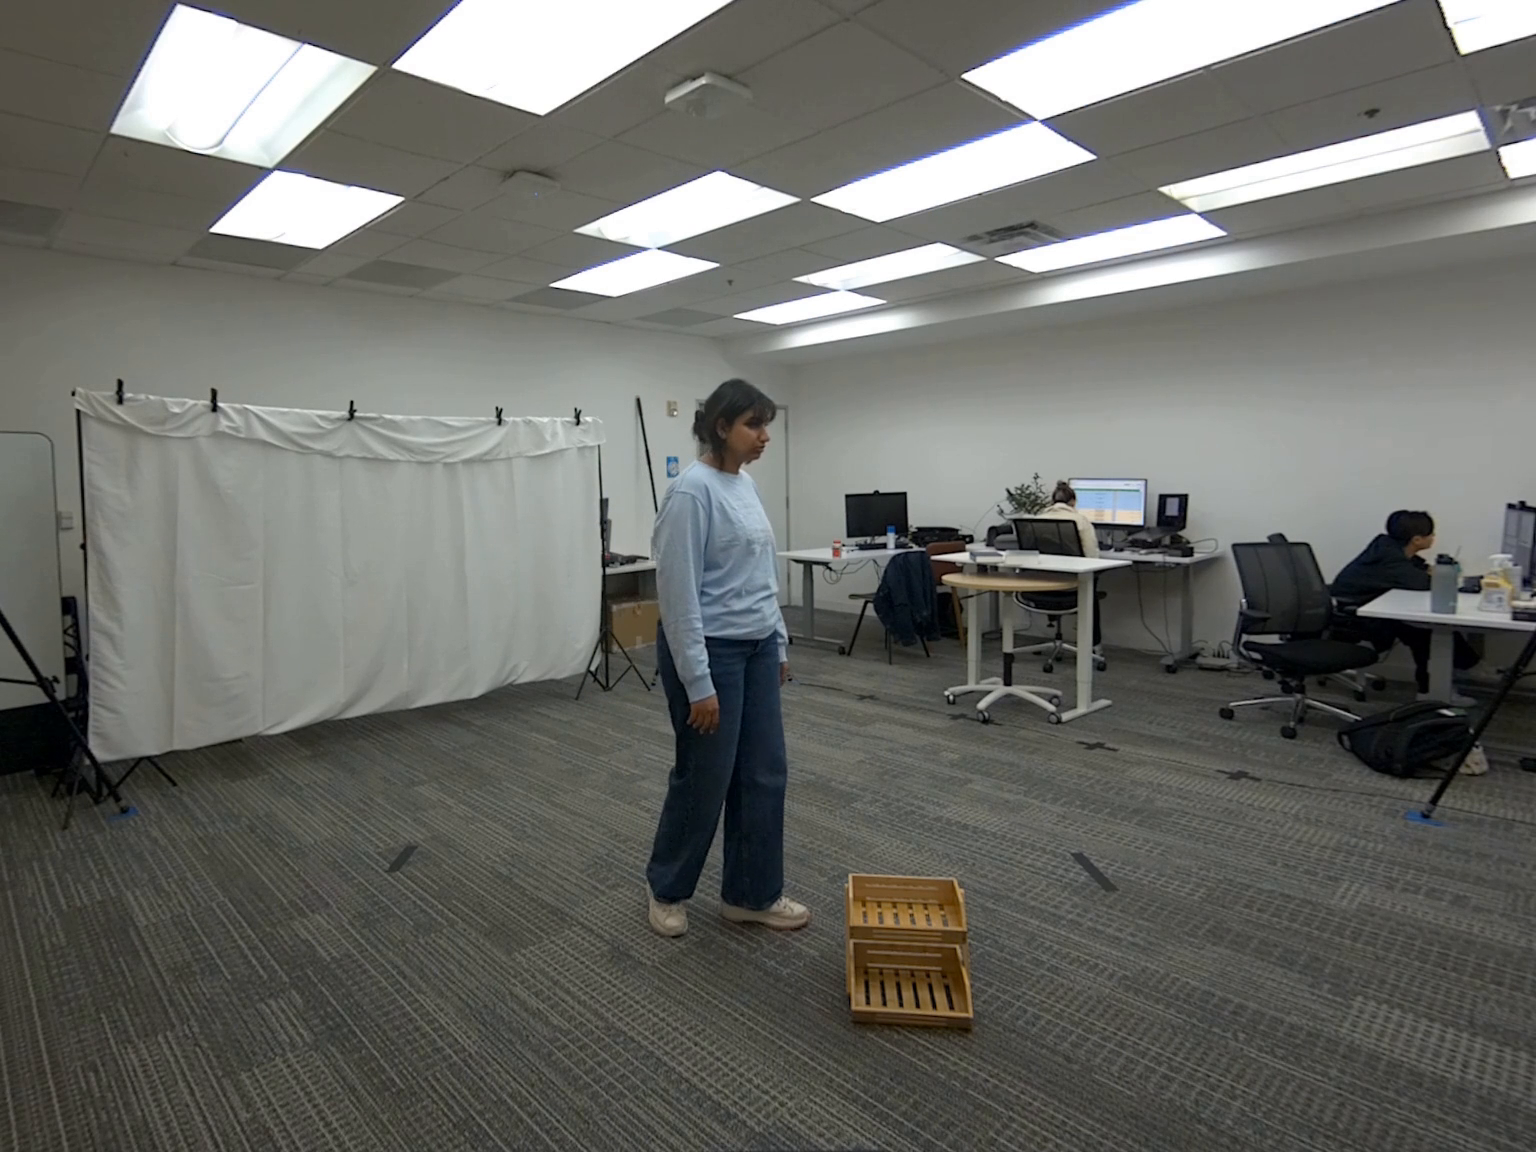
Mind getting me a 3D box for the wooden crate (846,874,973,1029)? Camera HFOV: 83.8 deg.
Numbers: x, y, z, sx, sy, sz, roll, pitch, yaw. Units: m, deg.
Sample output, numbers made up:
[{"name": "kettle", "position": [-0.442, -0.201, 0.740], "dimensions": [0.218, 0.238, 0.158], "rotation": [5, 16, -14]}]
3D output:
[{"name": "wooden crate", "position": [0.383, 1.003, 2.285], "dimensions": [0.327, 0.272, 0.301], "rotation": [0, 5, 7]}]
